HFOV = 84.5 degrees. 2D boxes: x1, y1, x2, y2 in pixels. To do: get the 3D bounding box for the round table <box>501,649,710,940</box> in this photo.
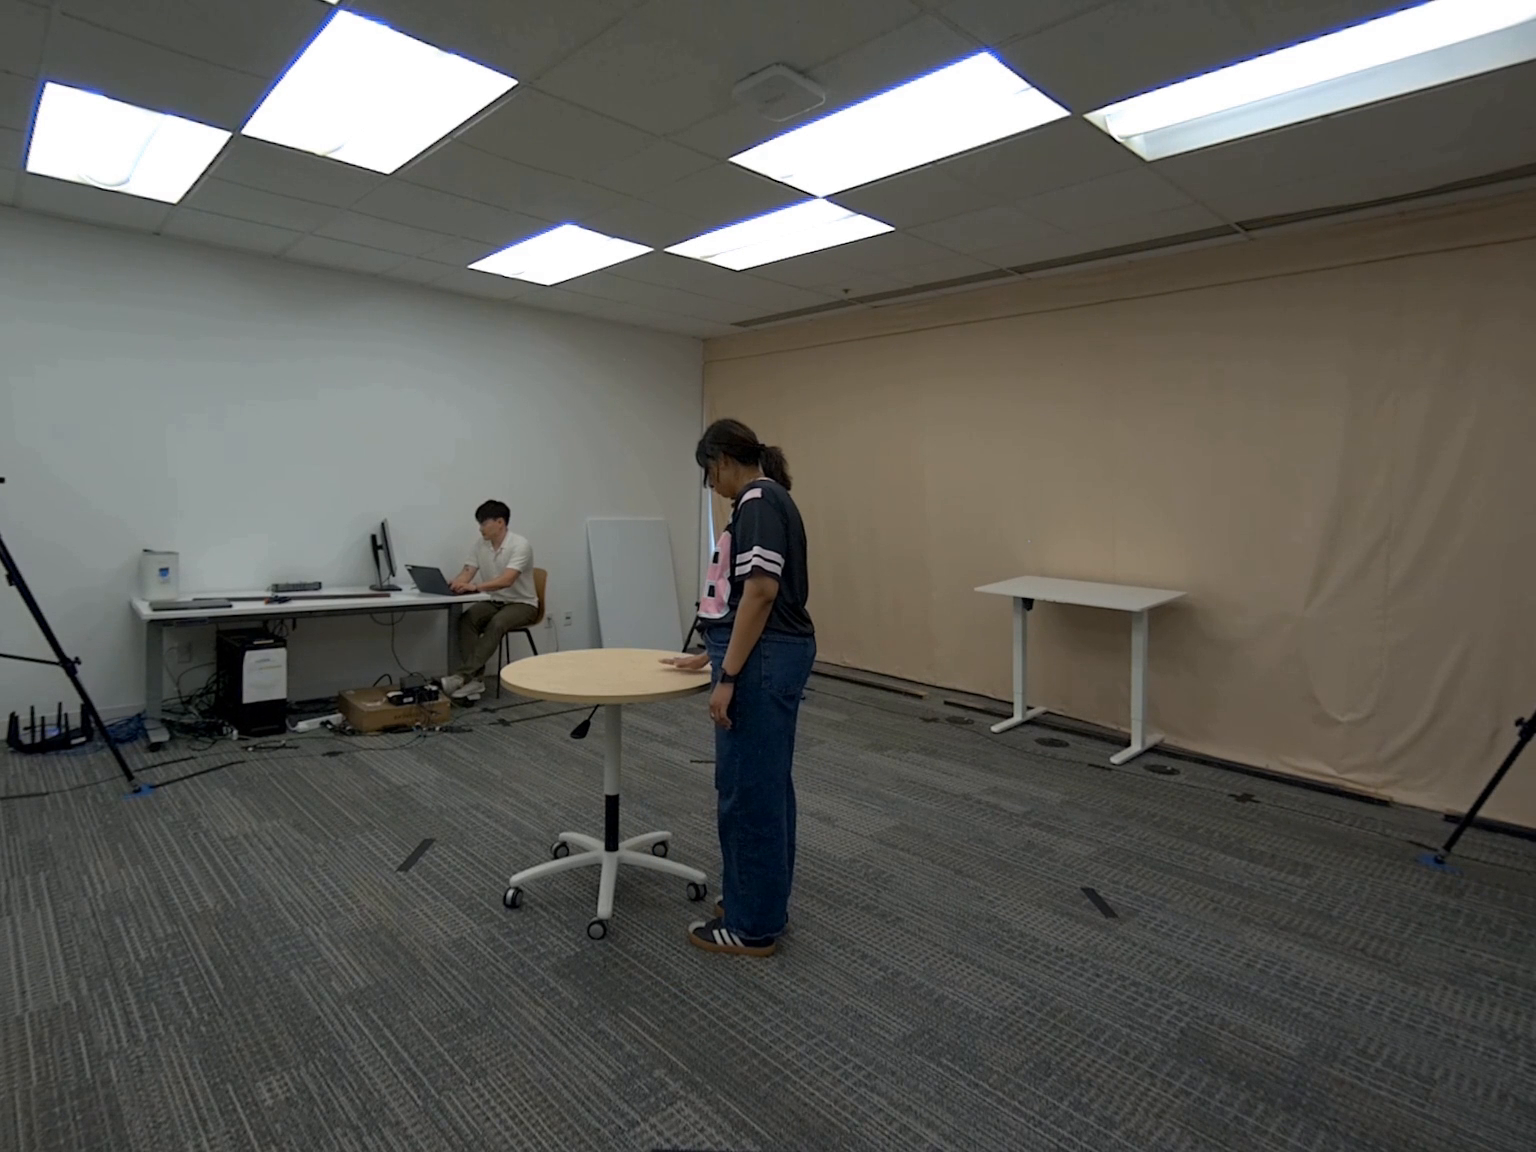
[{"bbox_3d":[-0.561,0.717,2.948,0.784,0.784,0.788,1,4,-1],"label":"round table"}]
